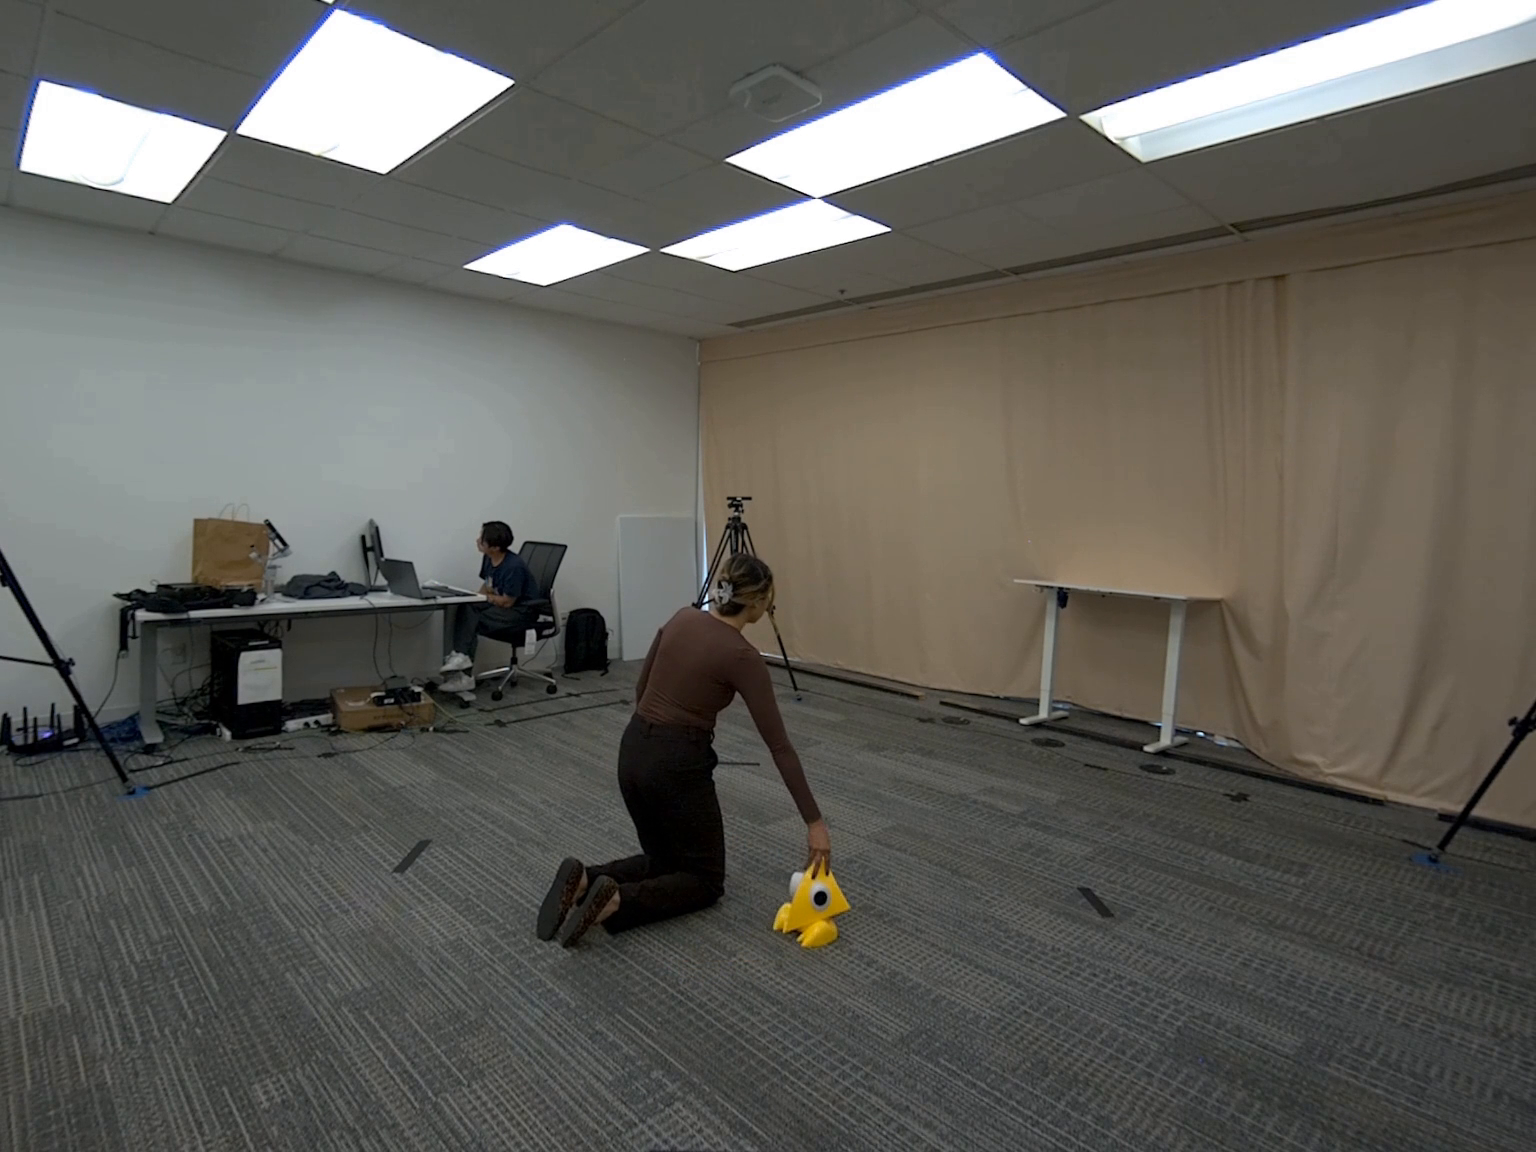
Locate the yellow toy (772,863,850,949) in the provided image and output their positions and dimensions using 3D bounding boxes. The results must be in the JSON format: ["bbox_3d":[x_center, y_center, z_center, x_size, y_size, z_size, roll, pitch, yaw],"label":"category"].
[{"bbox_3d":[0.127,1.034,2.722,0.189,0.230,0.210,-4,7,-42],"label":"yellow toy"}]
